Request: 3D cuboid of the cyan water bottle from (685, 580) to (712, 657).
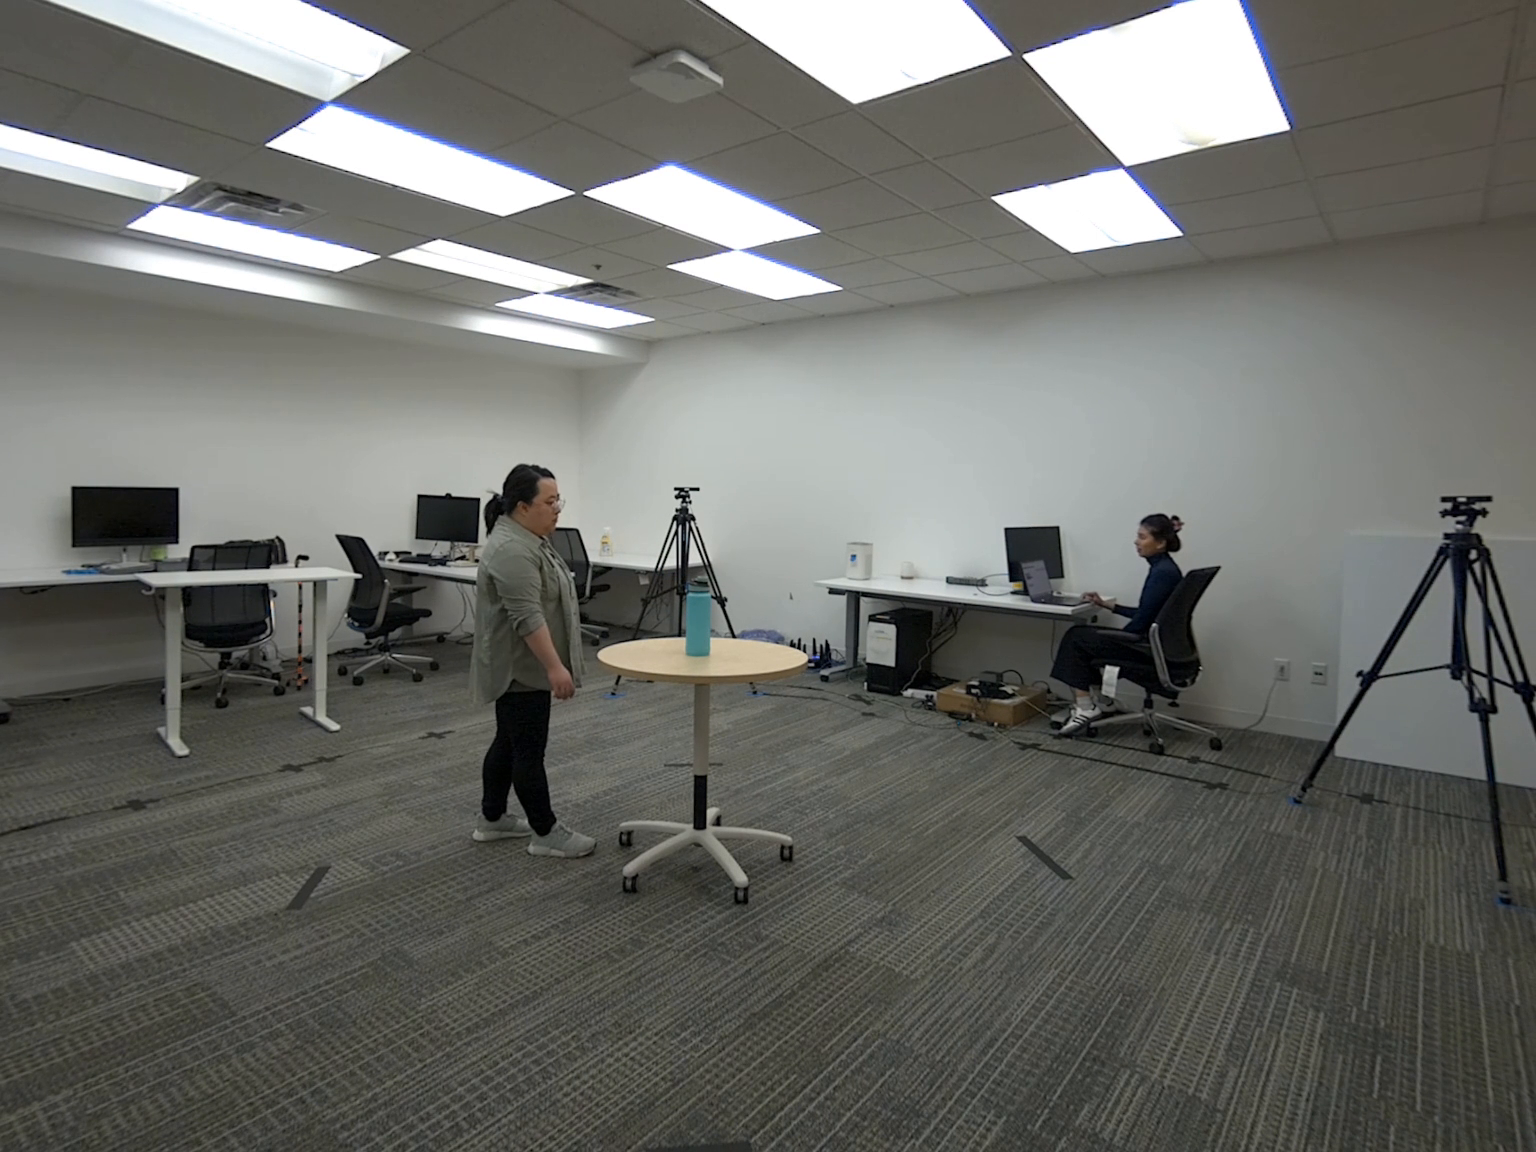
[{"bbox_3d":[-0.270,0.146,3.101,0.092,0.283,0.092,-2,2,-2],"label":"cyan water bottle"}]
